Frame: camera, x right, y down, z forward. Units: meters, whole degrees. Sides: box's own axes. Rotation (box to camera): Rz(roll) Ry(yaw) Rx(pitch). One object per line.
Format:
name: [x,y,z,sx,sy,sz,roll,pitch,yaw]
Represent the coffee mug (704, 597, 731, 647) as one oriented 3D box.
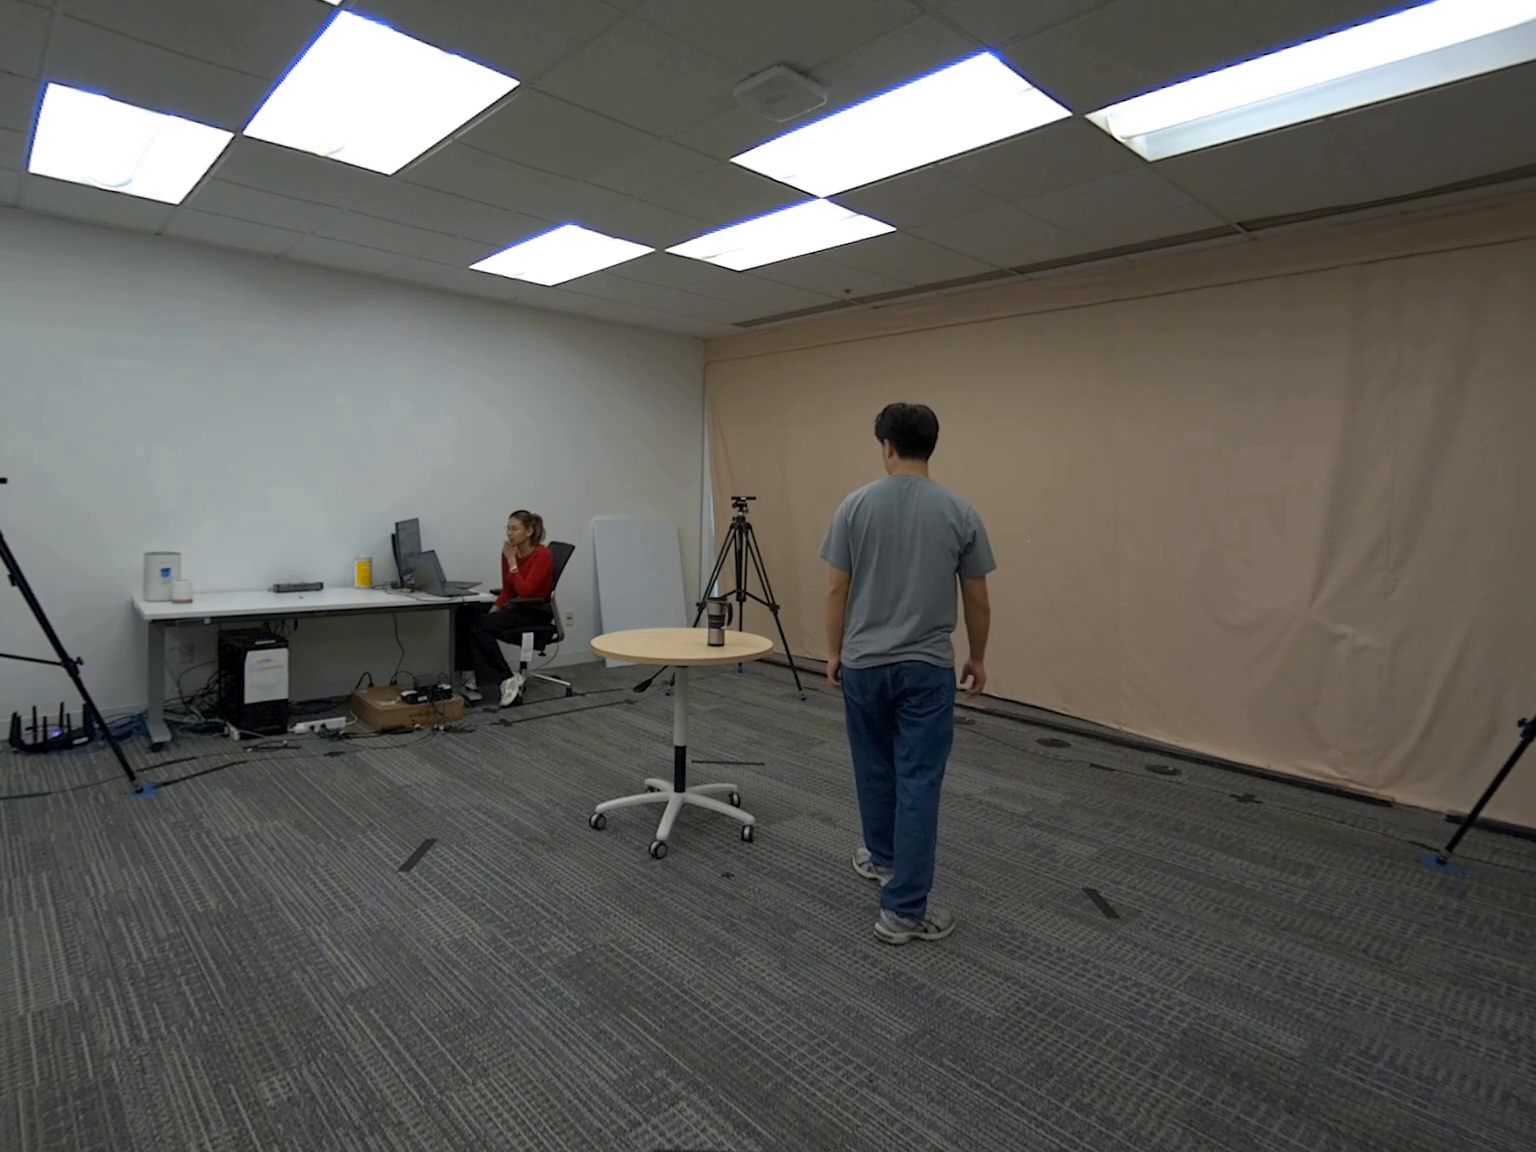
coffee mug: [-0.211,0.190,3.456,0.086,0.203,0.124,5,-2,-25]
